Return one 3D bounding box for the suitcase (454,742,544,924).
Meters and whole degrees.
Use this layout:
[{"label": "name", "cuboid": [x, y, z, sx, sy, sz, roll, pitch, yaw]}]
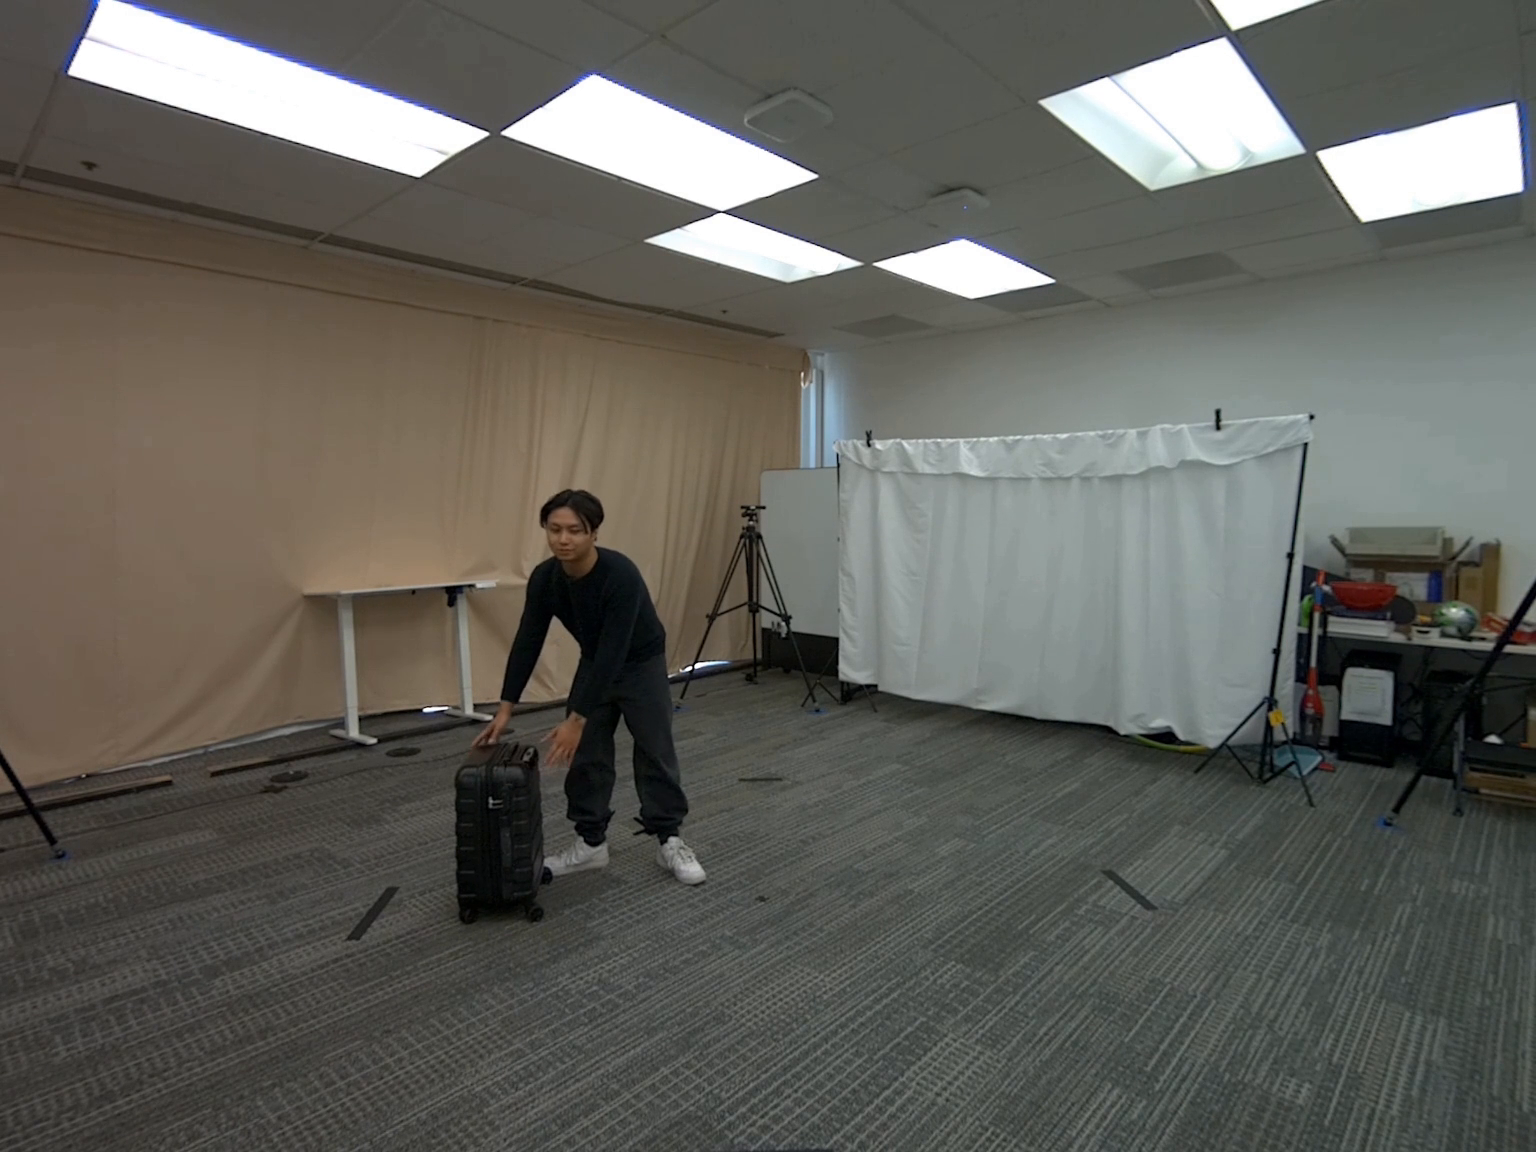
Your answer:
[{"label": "suitcase", "cuboid": [-0.940, 0.879, 2.953, 0.247, 0.548, 0.378, -1, 3, -7]}]
